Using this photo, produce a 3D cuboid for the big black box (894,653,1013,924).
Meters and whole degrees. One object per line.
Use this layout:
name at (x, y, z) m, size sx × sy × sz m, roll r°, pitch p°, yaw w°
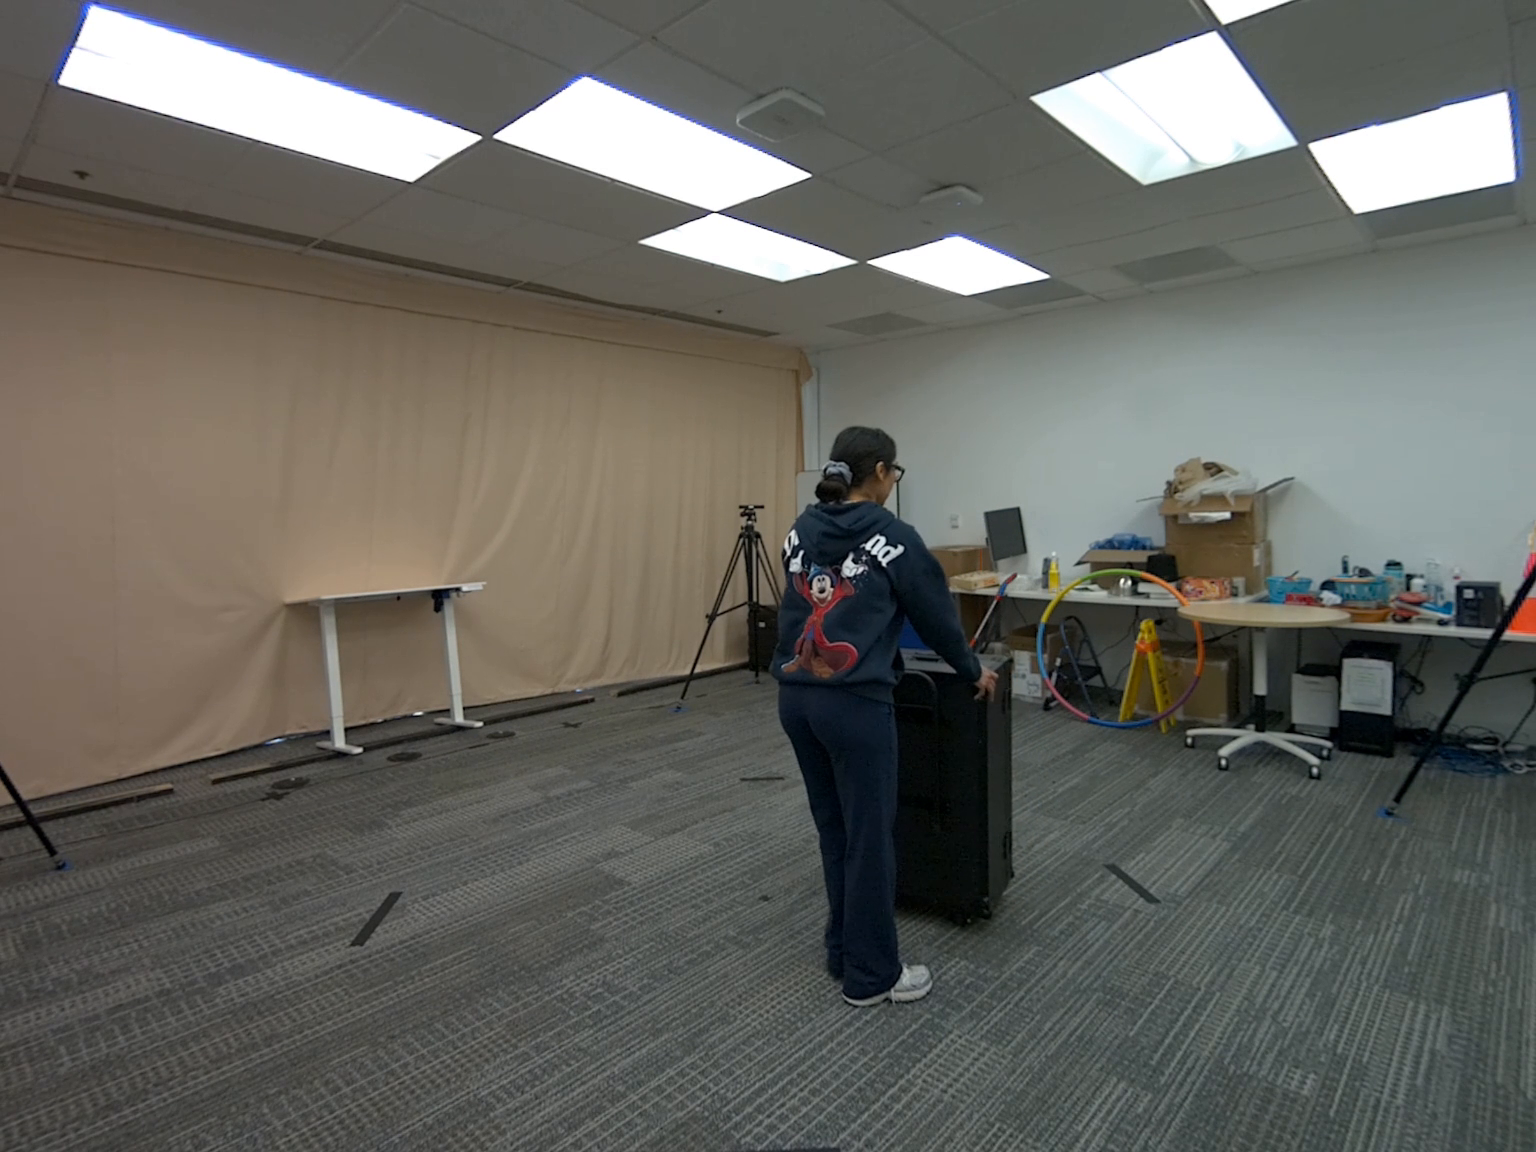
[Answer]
big black box at (0.568, 0.713, 2.896) m, size 0.536 × 0.858 × 0.386 m, roll 1°, pitch 6°, yaw 30°
